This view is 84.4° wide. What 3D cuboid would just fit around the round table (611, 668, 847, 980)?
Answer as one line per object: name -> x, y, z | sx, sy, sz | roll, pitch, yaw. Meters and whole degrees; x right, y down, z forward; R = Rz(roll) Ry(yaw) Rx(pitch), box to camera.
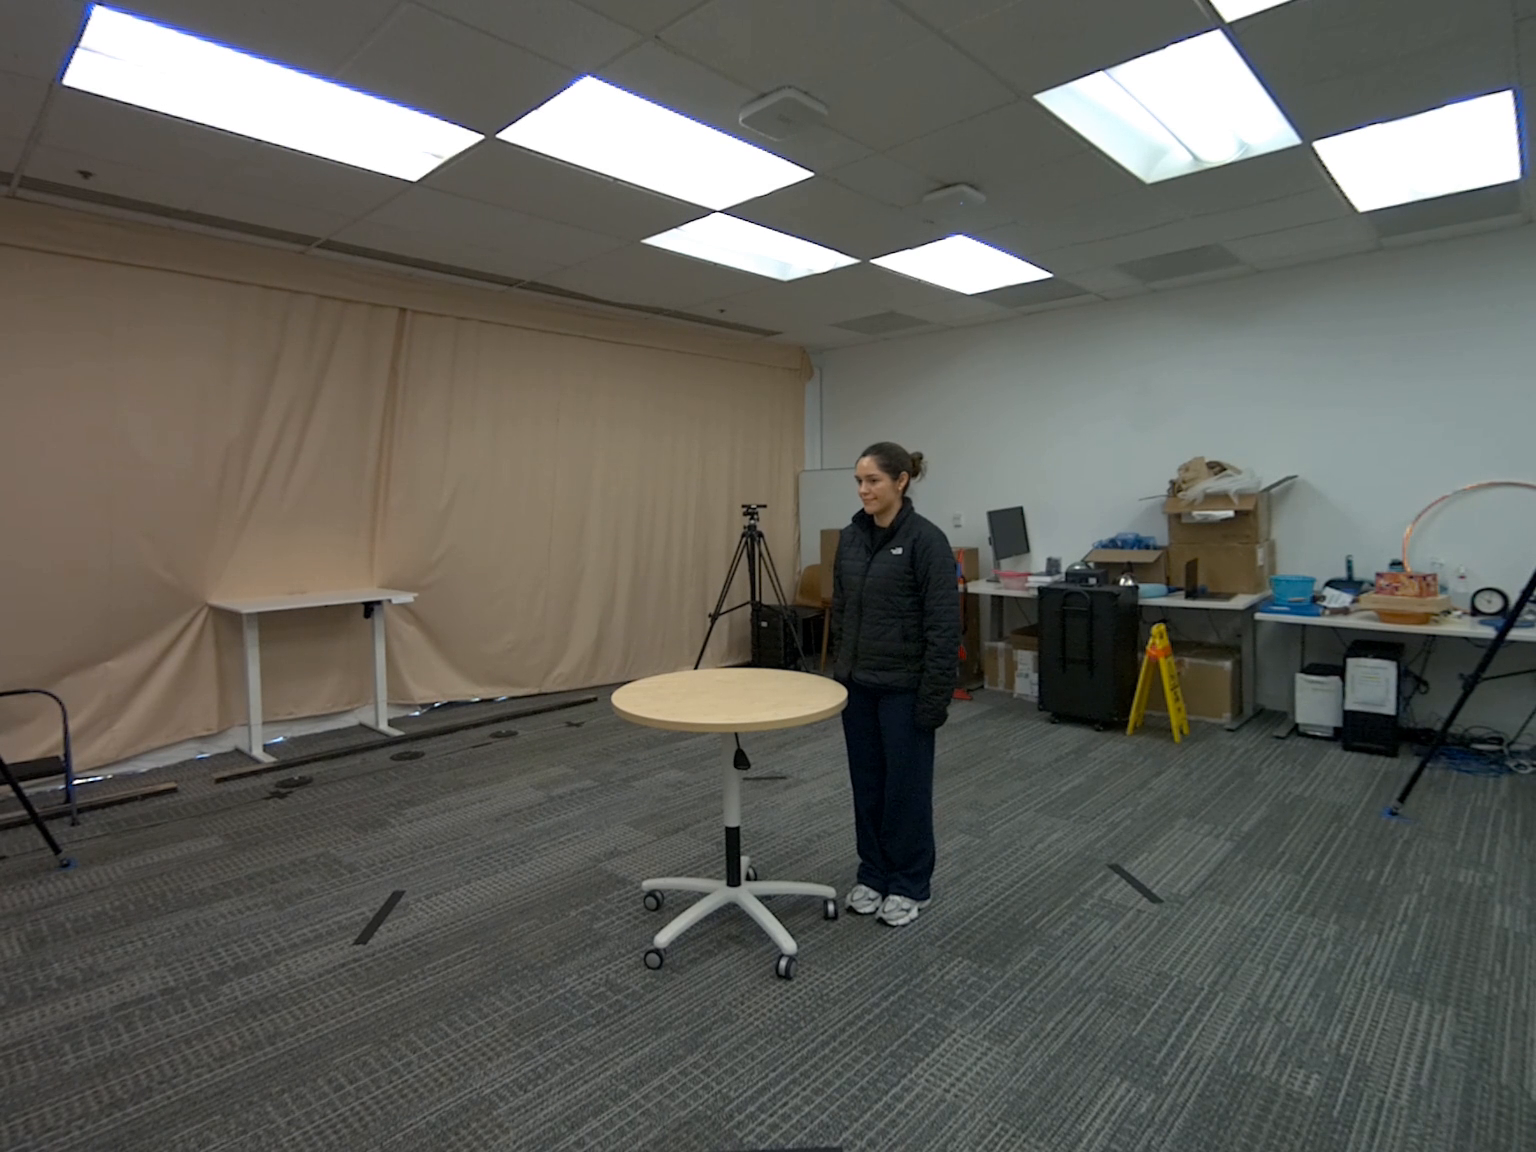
round table -> -0.110, 0.769, 2.782 | 0.784, 0.784, 0.788 | -1, 4, -2
